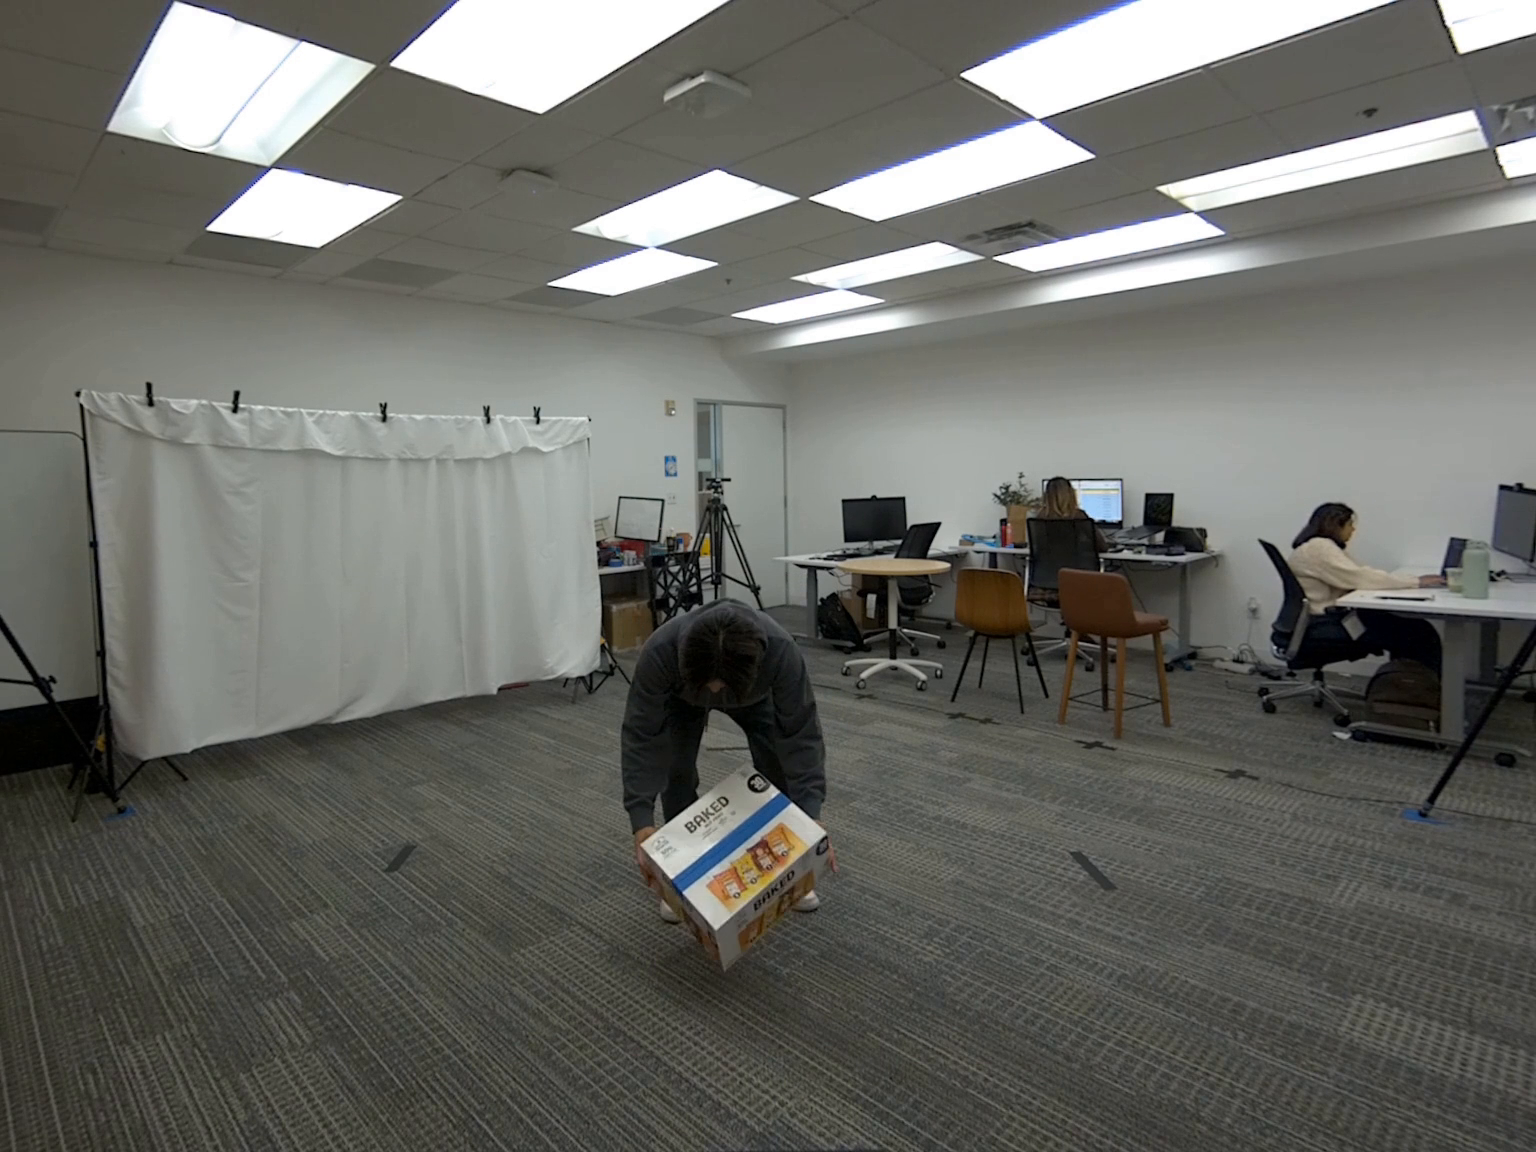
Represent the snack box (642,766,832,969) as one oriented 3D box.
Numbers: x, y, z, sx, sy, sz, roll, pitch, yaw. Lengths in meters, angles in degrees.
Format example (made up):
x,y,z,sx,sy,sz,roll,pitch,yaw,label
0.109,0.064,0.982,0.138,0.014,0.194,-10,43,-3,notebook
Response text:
x,y,z,sx,sy,sz,roll,pitch,yaw,label
-0.094,0.799,2.402,0.402,0.199,0.354,-32,43,-26,snack box
